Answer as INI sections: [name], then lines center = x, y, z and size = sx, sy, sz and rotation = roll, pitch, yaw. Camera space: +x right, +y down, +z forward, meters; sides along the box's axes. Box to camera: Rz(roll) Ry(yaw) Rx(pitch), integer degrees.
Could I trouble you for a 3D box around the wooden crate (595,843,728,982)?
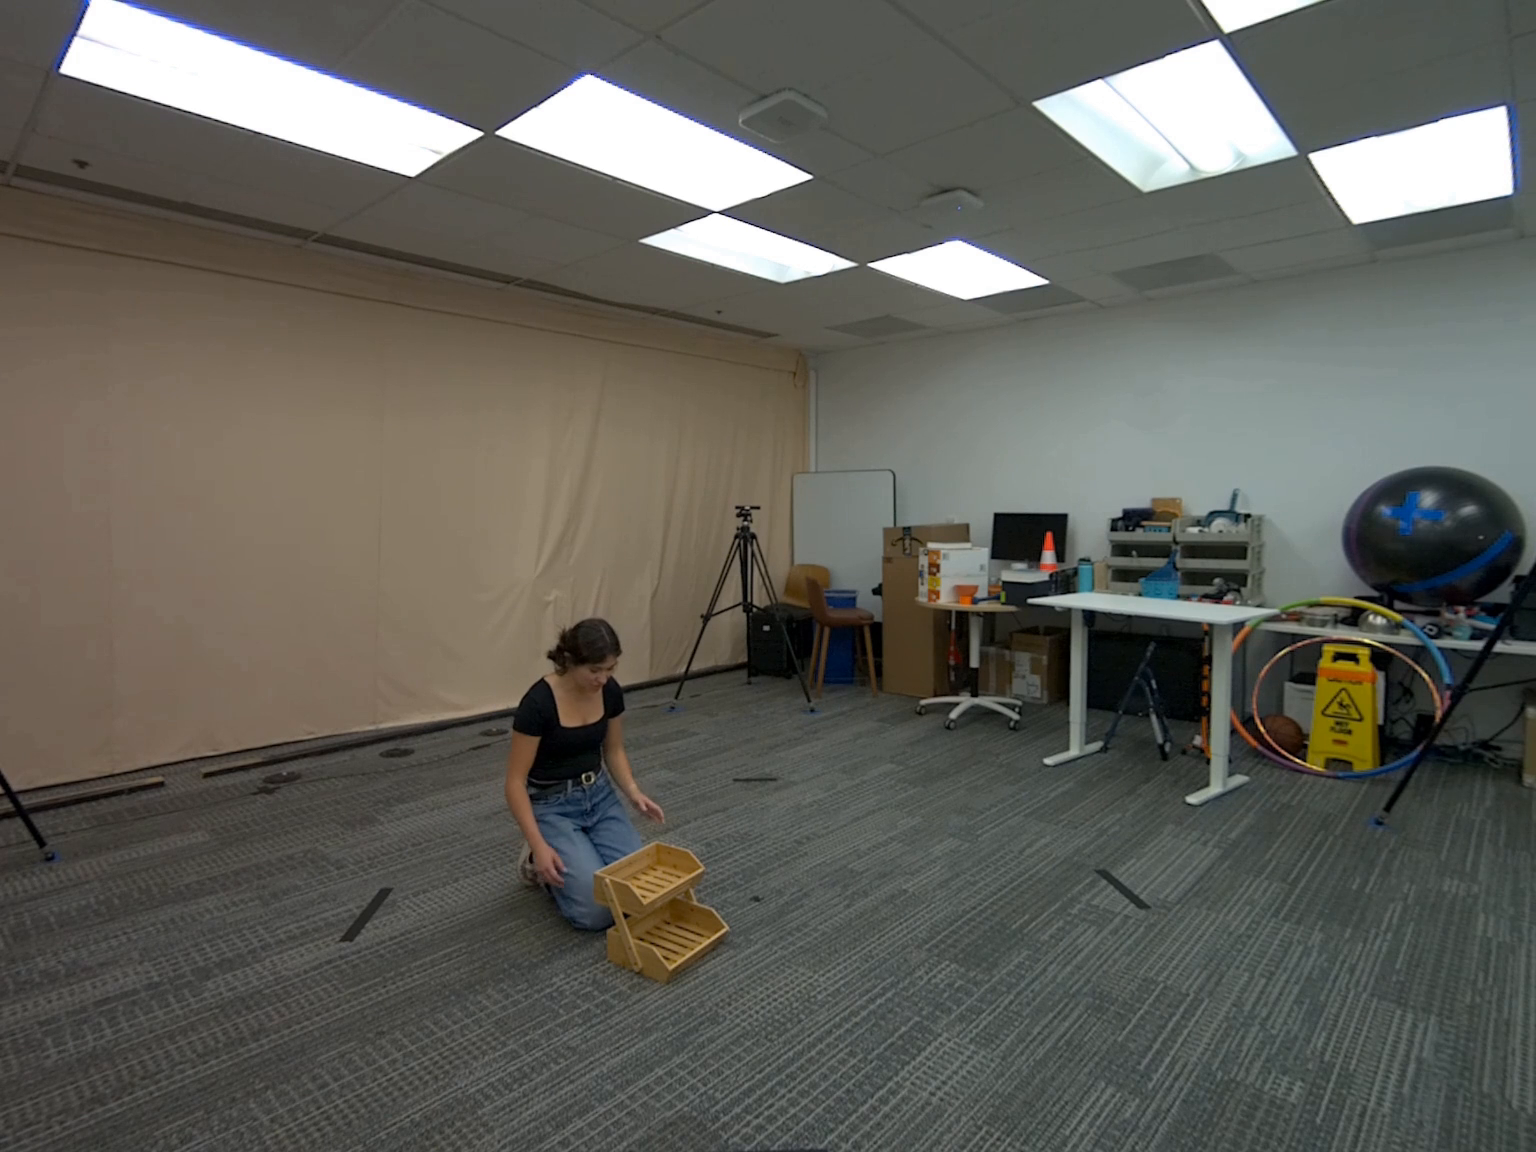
[wooden crate]
center = -0.330, 1.043, 2.641
size = 0.311, 0.273, 0.315
rotation = 1, 4, 34
